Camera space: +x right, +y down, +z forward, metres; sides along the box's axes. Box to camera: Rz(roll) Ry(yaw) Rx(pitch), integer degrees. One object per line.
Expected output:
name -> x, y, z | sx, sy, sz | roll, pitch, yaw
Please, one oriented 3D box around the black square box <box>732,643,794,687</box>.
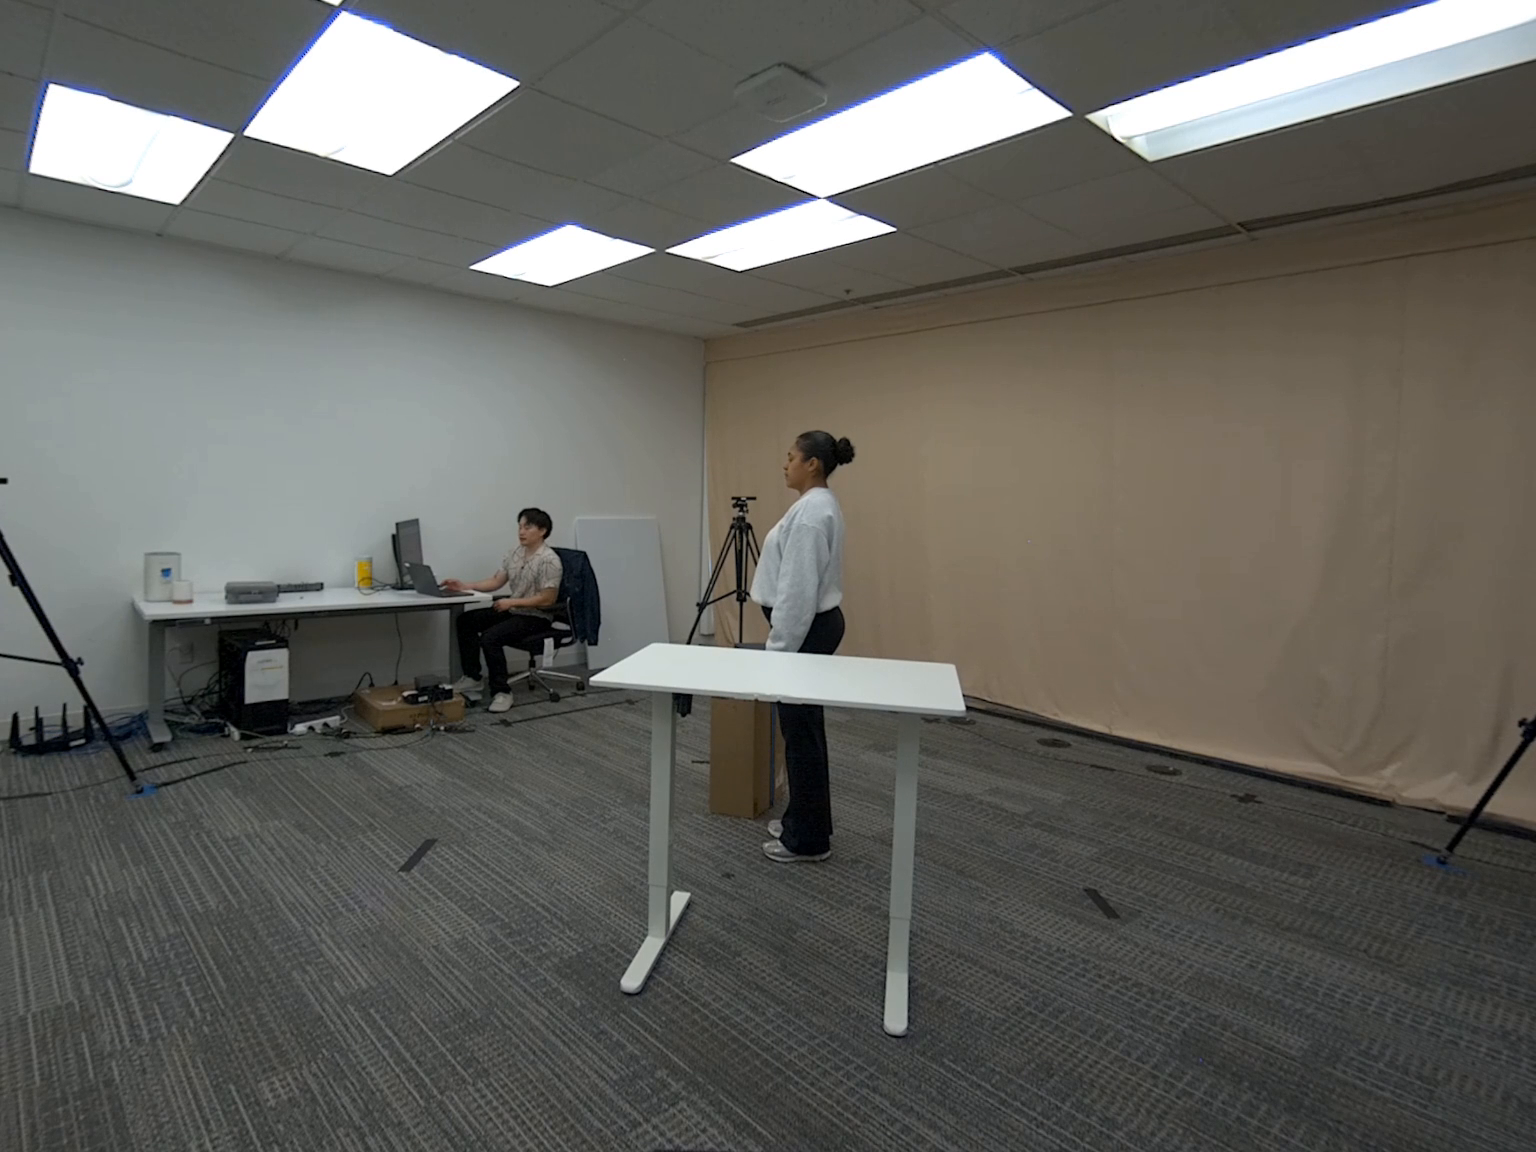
black square box -> -0.028, 0.401, 3.862 | 0.226, 0.155, 0.219 | 1, 4, -13
